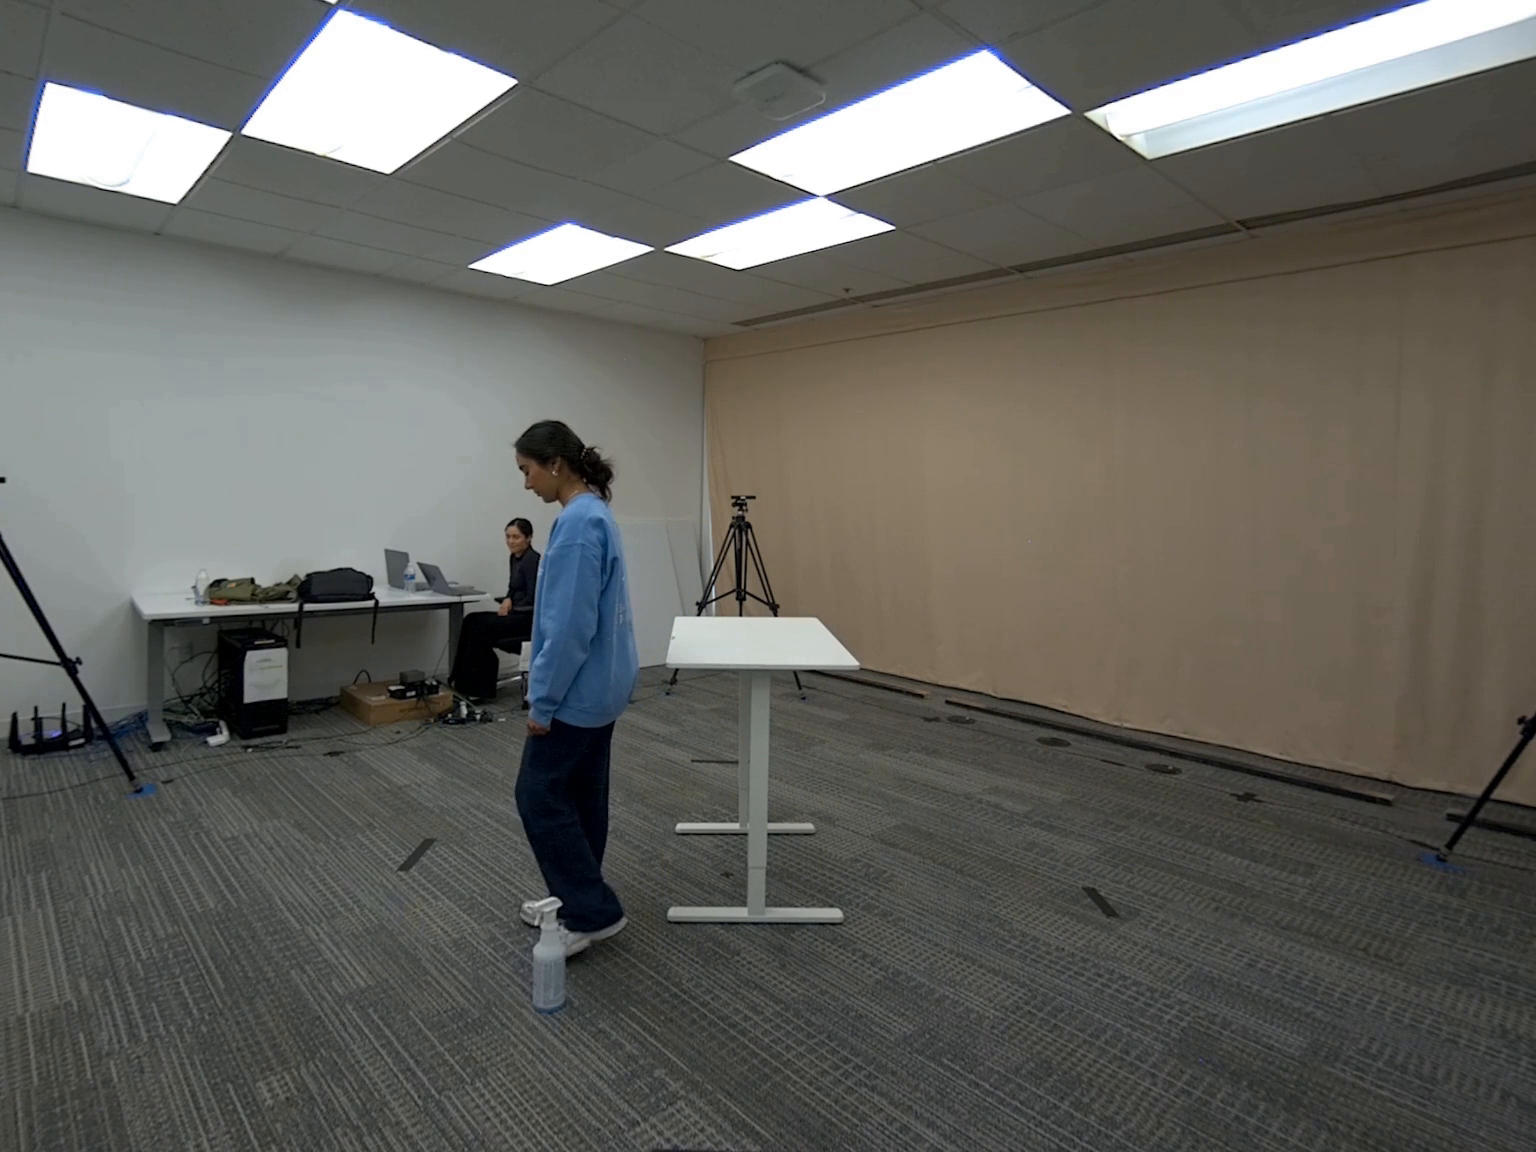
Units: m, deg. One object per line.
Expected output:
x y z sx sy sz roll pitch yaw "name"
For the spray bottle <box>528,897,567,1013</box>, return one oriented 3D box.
-0.602 1.028 2.277 0.088 0.296 0.089 -1 5 -27 "spray bottle"
